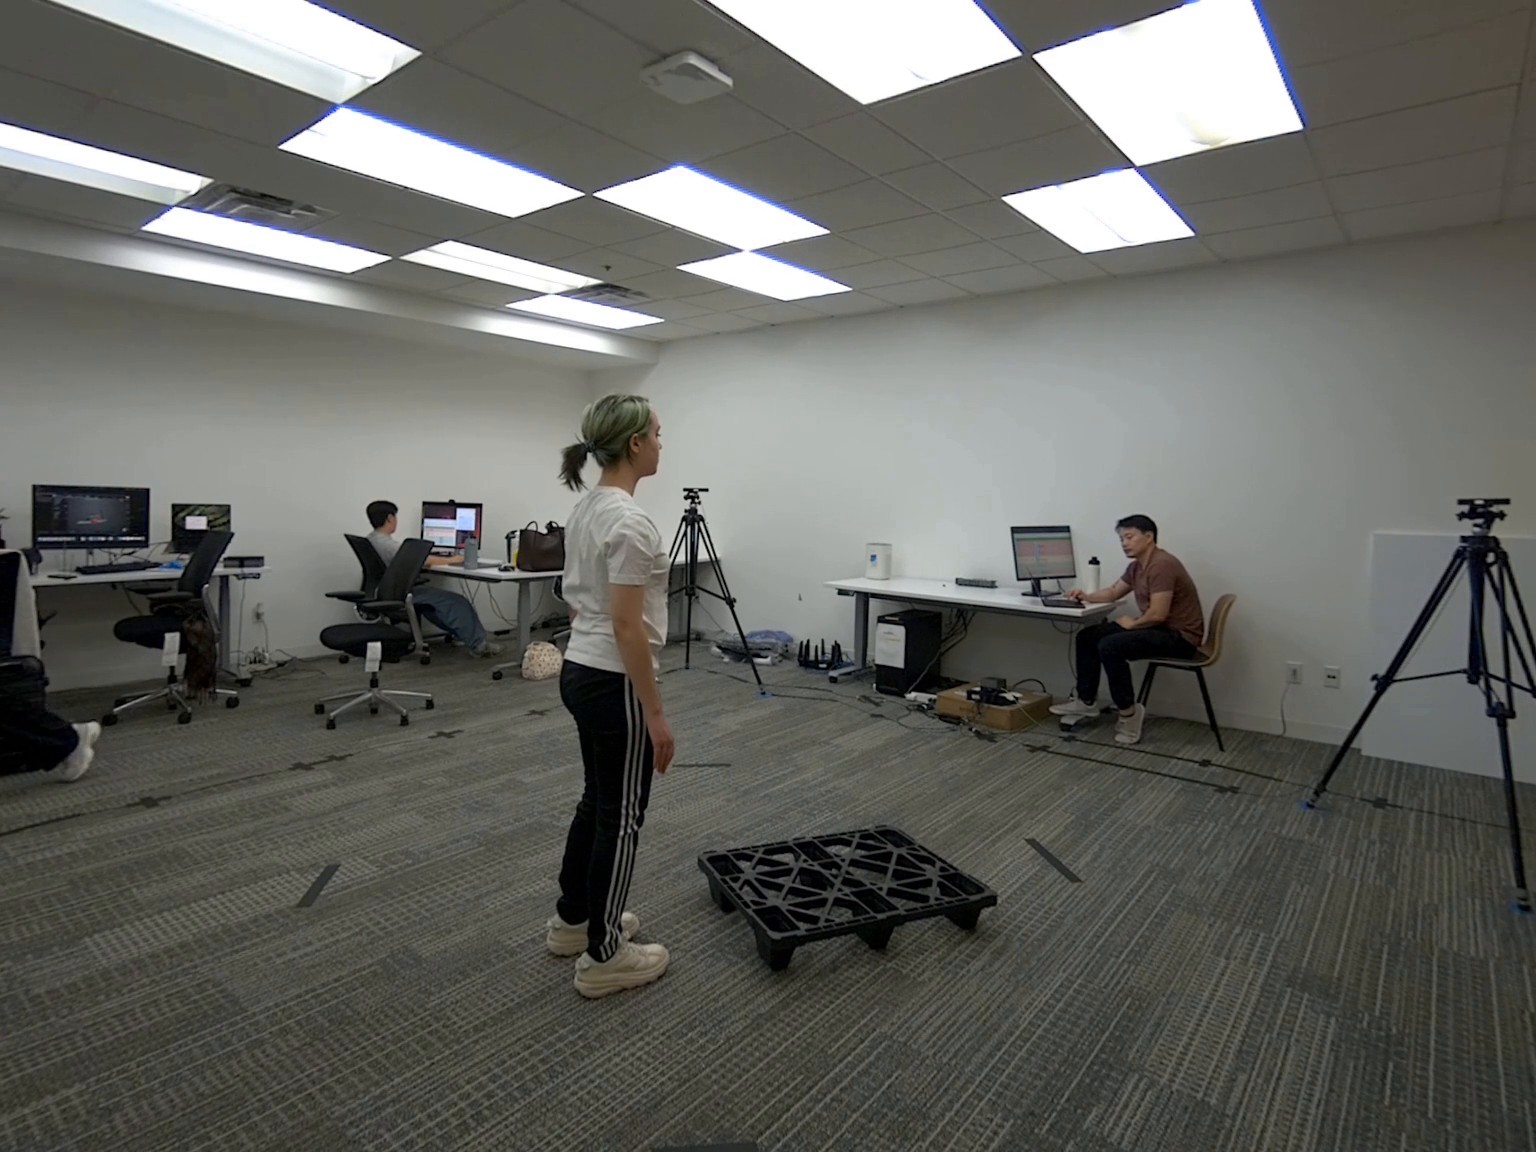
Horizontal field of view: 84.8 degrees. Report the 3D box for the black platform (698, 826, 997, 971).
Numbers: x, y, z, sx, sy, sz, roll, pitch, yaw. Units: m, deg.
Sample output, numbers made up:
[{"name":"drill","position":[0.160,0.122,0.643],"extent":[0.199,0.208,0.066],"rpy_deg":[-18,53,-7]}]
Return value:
[{"name":"black platform","position":[0.235,1.041,2.803],"extent":[0.787,0.143,0.622],"rpy_deg":[-1,7,-24]}]
